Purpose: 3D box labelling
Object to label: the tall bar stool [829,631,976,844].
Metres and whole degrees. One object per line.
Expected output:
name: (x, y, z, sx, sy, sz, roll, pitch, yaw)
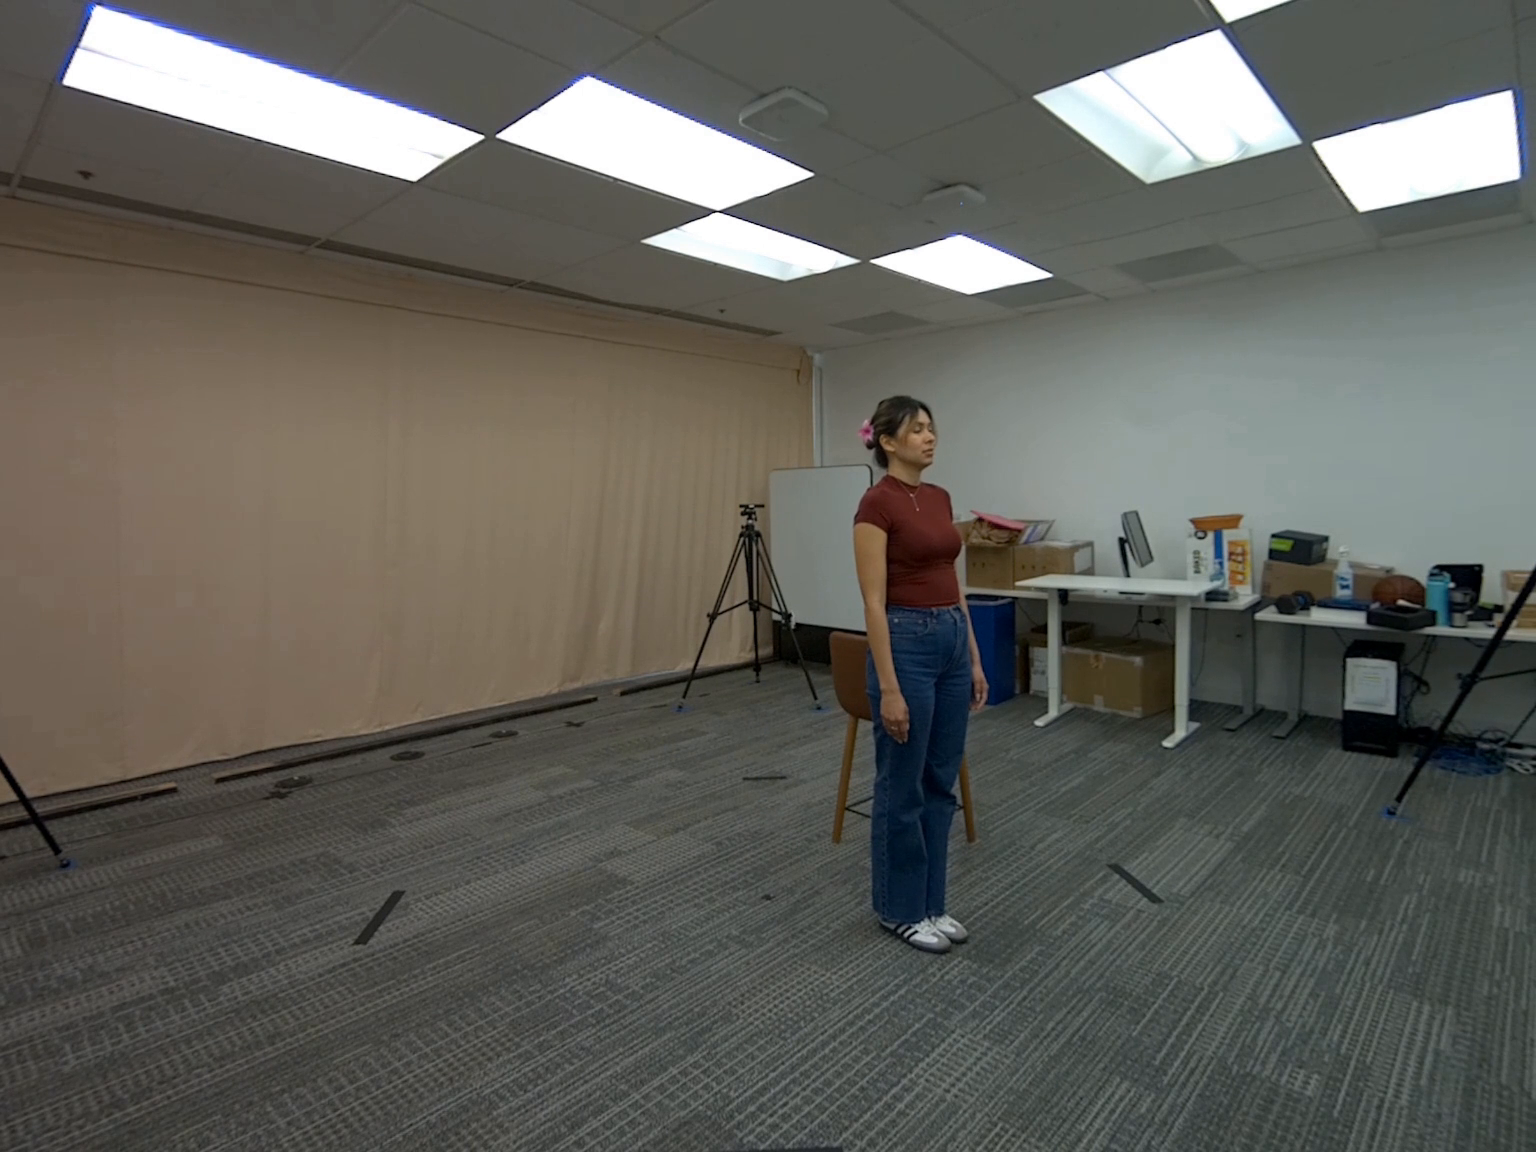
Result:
tall bar stool: (0.545, 0.655, 3.440, 0.453, 0.887, 0.471, -5, 5, -42)
